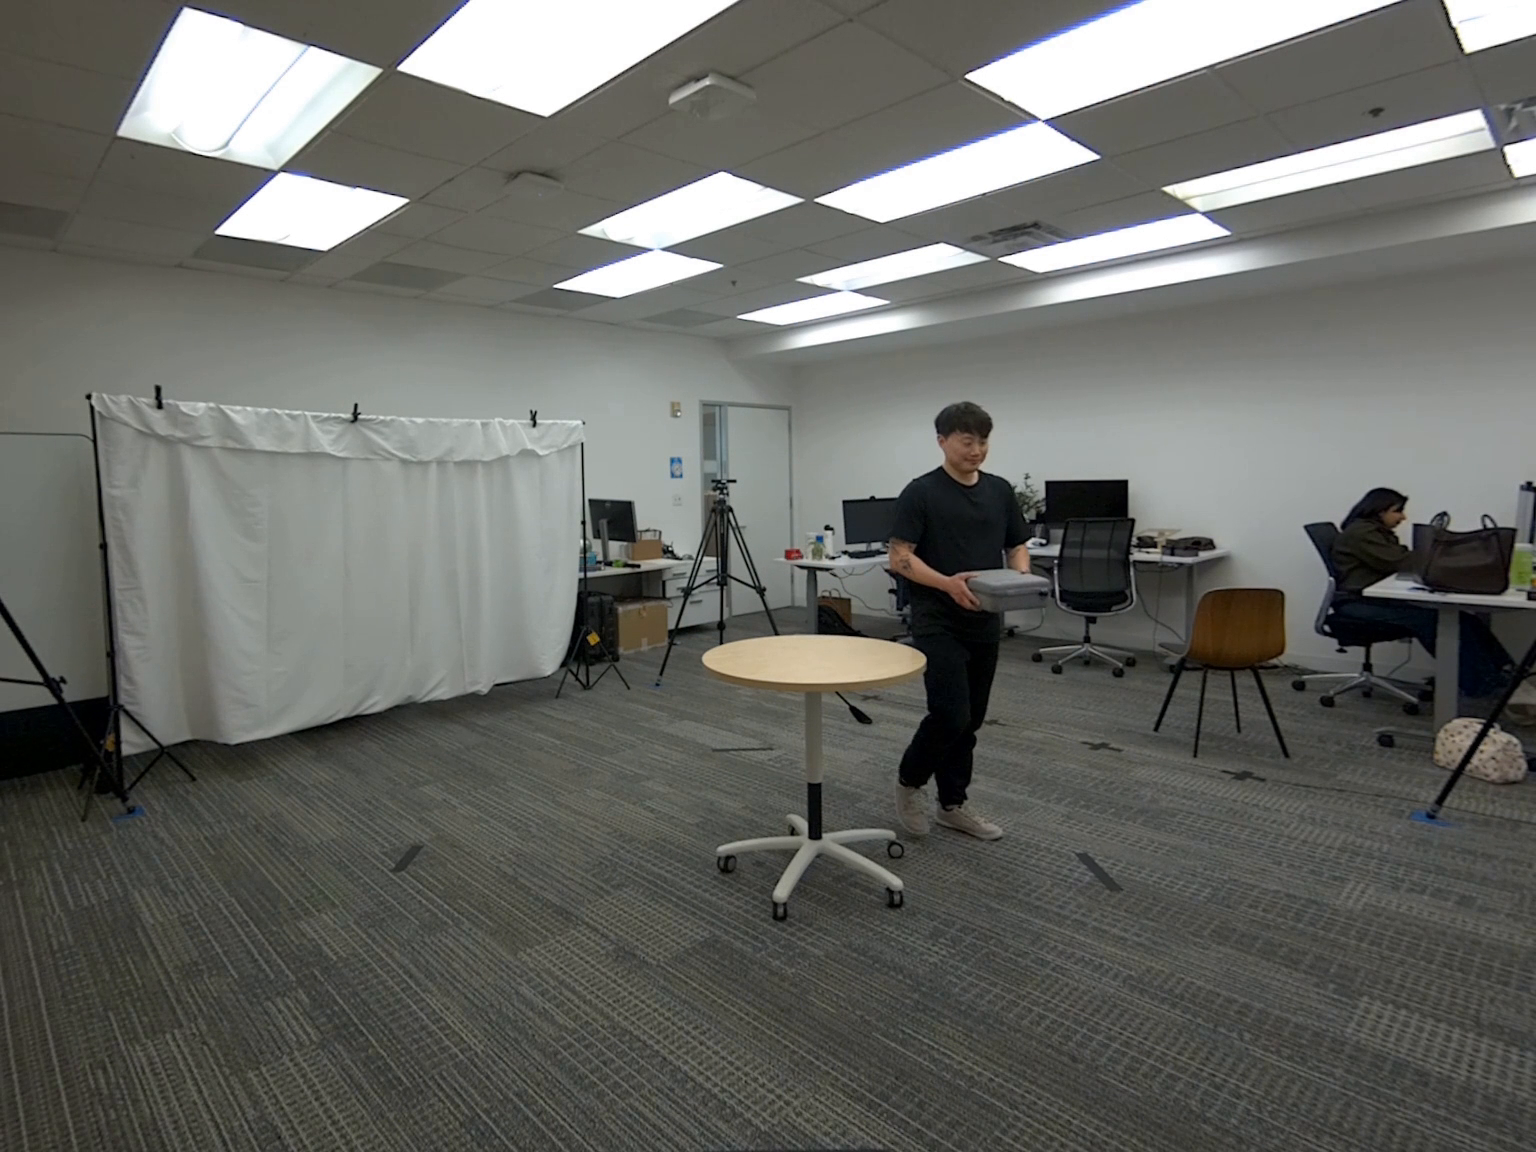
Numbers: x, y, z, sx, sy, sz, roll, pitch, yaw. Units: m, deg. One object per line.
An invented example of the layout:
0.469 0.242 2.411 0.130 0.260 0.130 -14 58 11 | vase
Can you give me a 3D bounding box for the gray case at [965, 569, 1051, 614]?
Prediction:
0.825 0.053 3.042 0.254 0.103 0.266 -3 10 -13 | gray case
